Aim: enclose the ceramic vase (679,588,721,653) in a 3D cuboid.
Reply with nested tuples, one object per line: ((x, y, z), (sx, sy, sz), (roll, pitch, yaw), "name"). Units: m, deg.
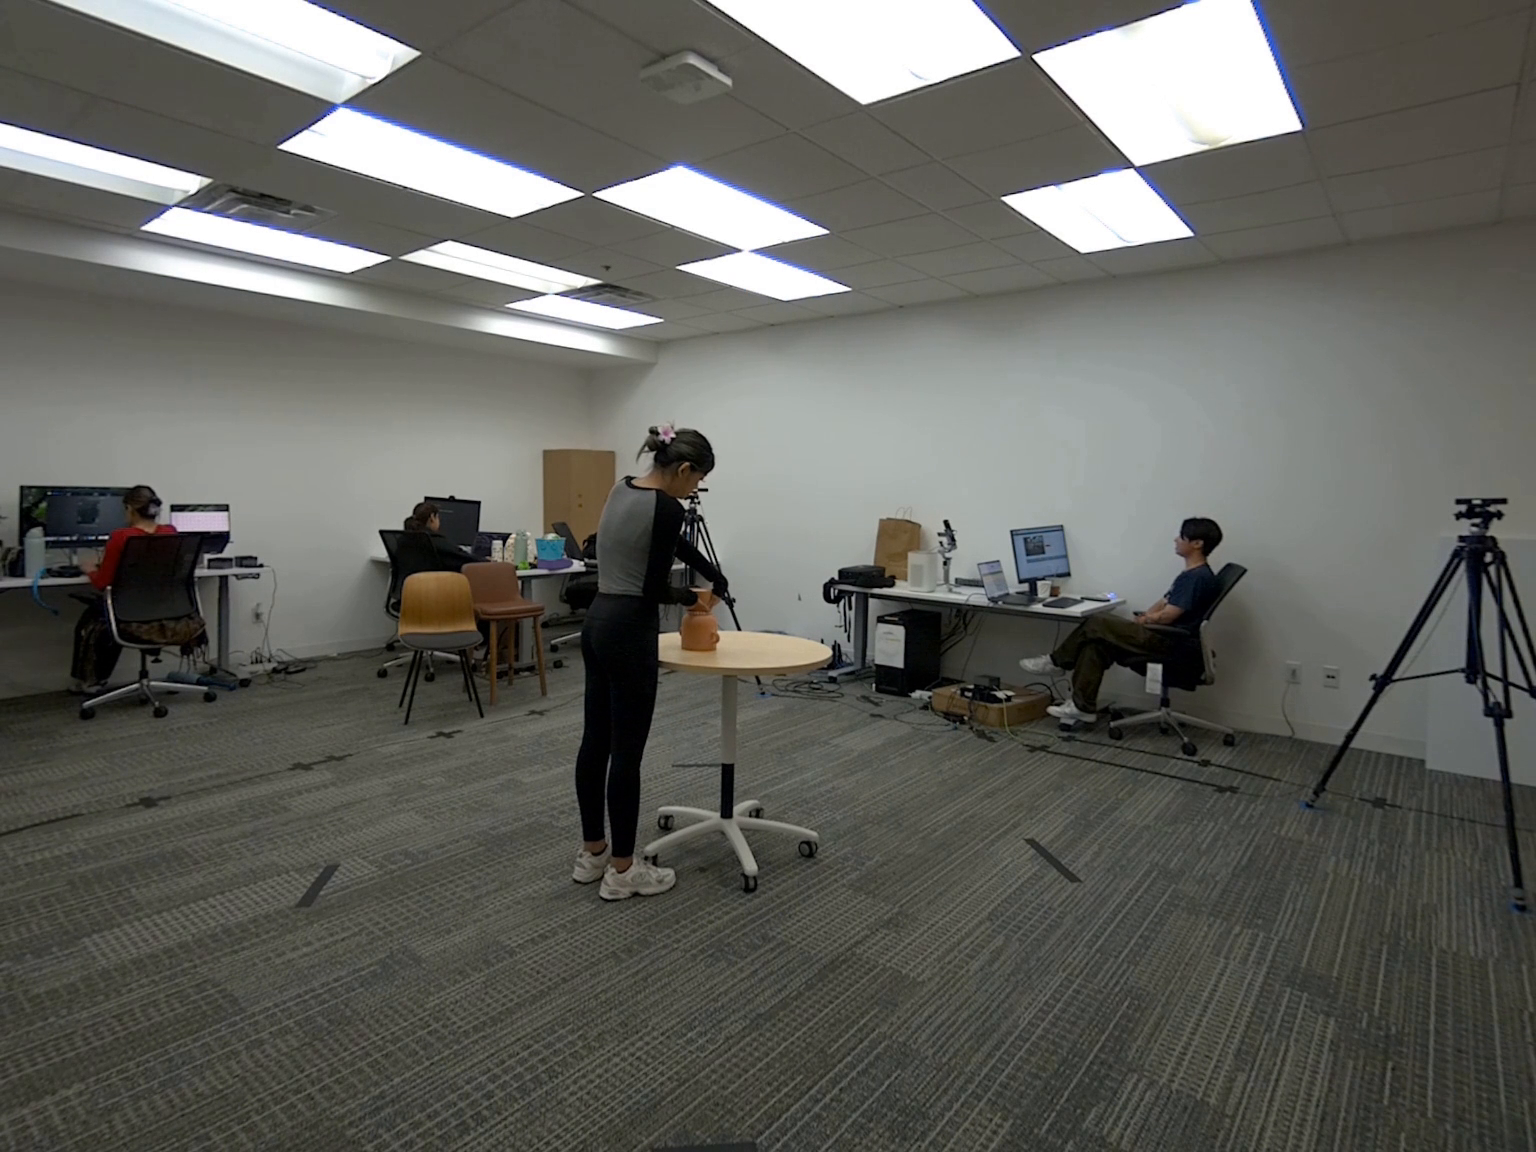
((-0.268, 0.160, 3.177), (0.159, 0.219, 0.135), (3, 3, -1), "ceramic vase")
